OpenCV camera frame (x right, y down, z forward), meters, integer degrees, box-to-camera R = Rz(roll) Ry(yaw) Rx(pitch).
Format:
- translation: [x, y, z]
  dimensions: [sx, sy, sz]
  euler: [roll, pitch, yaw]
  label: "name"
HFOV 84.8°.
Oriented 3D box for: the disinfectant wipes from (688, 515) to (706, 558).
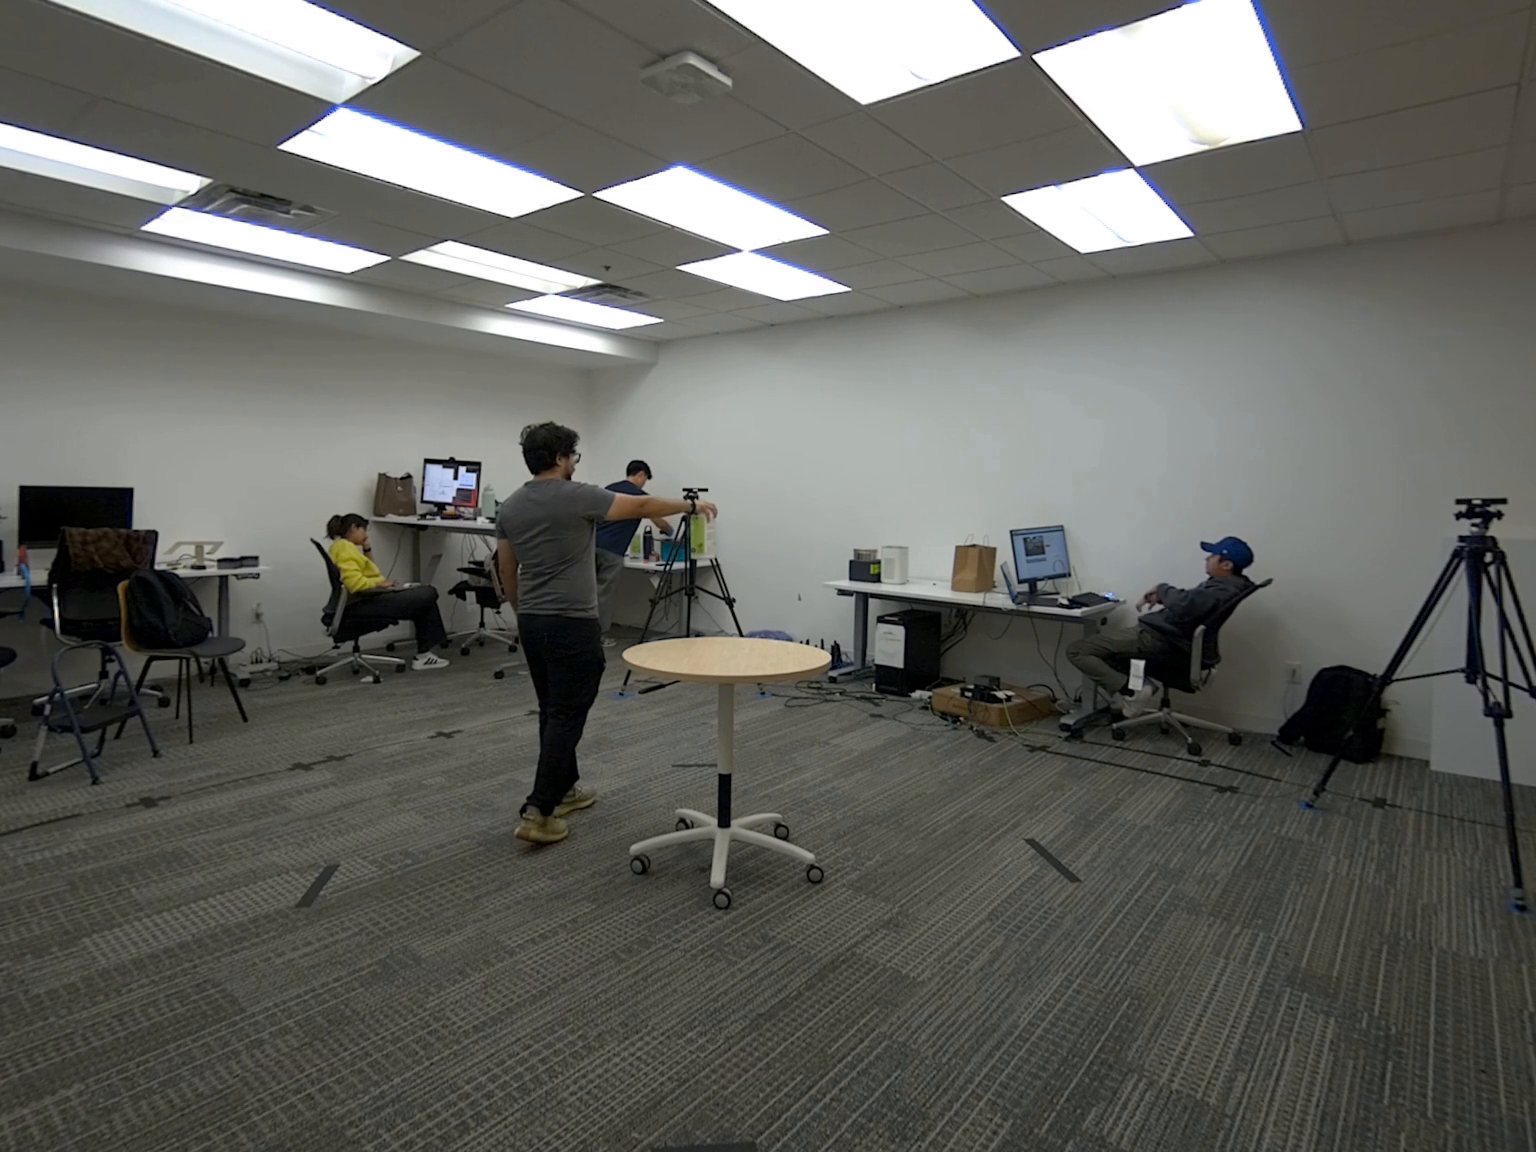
- translation: [-0.306, -0.182, 3.758]
  dimensions: [0.118, 0.217, 0.118]
  euler: [0, 2, -2]
  label: "disinfectant wipes"
